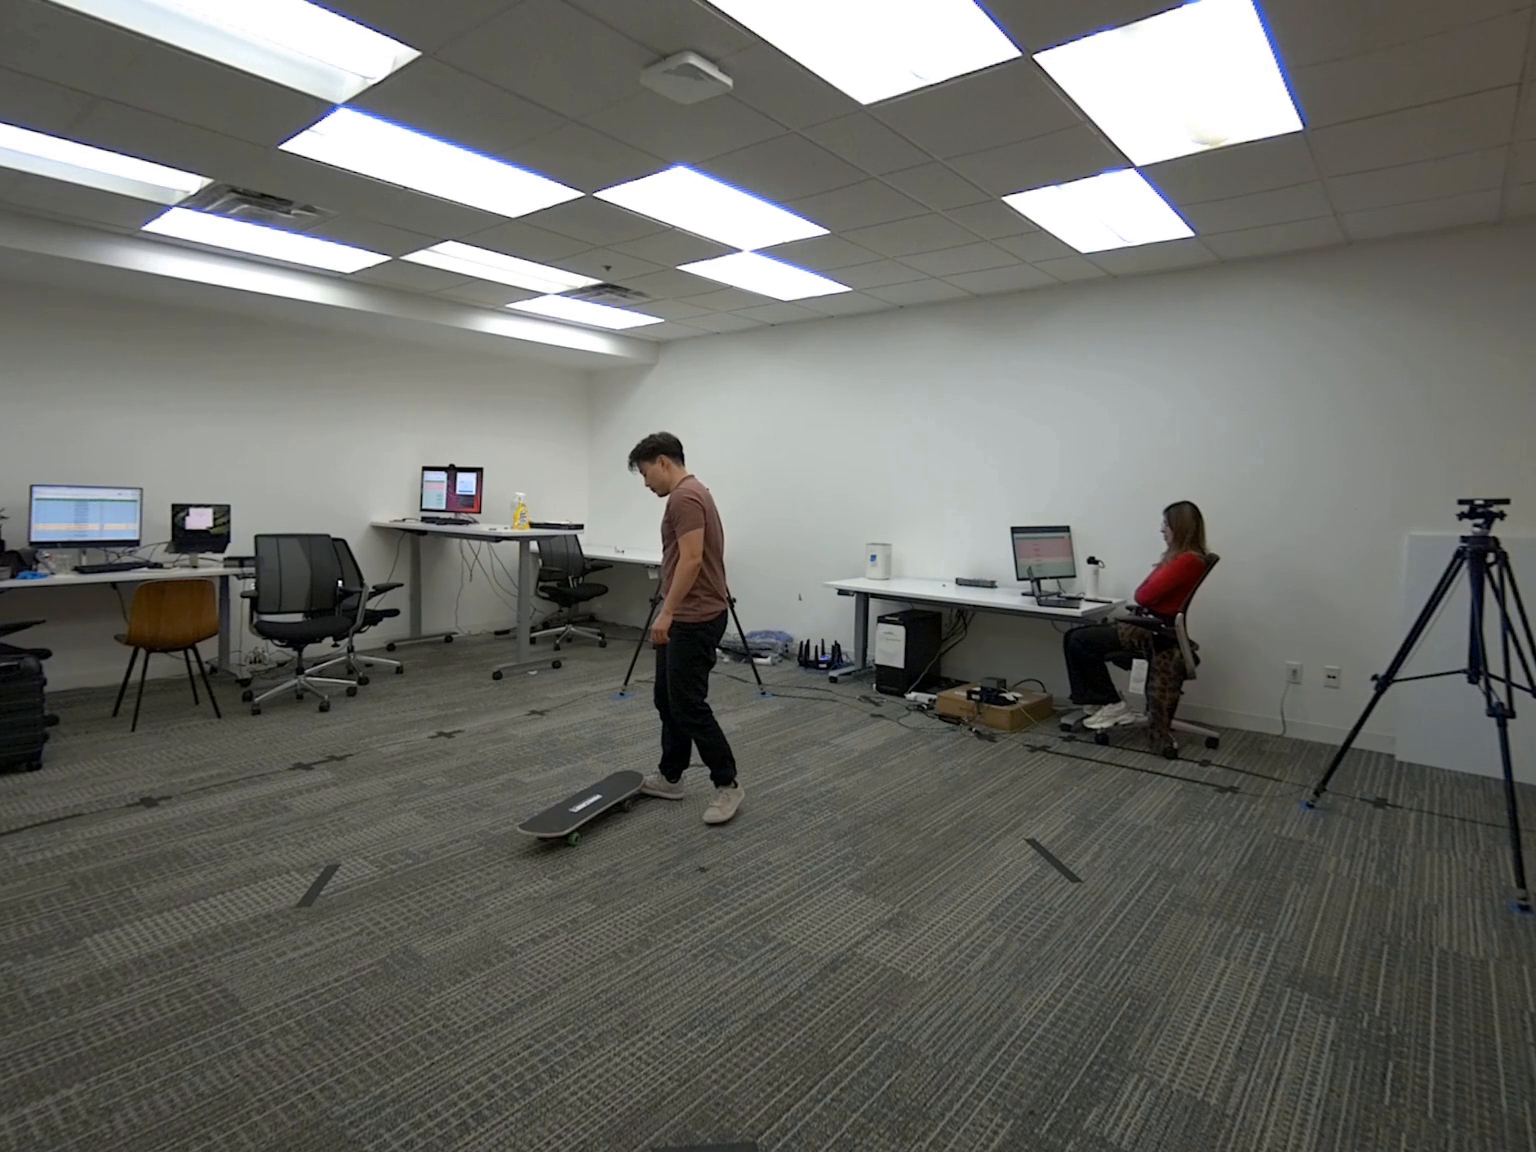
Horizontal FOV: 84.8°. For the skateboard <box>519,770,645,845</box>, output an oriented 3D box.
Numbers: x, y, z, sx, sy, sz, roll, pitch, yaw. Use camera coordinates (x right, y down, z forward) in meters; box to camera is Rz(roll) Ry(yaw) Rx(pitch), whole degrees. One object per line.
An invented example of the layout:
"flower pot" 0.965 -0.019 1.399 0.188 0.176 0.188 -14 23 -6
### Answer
"skateboard" -0.764 0.968 3.510 0.198 0.110 0.769 4 6 21
